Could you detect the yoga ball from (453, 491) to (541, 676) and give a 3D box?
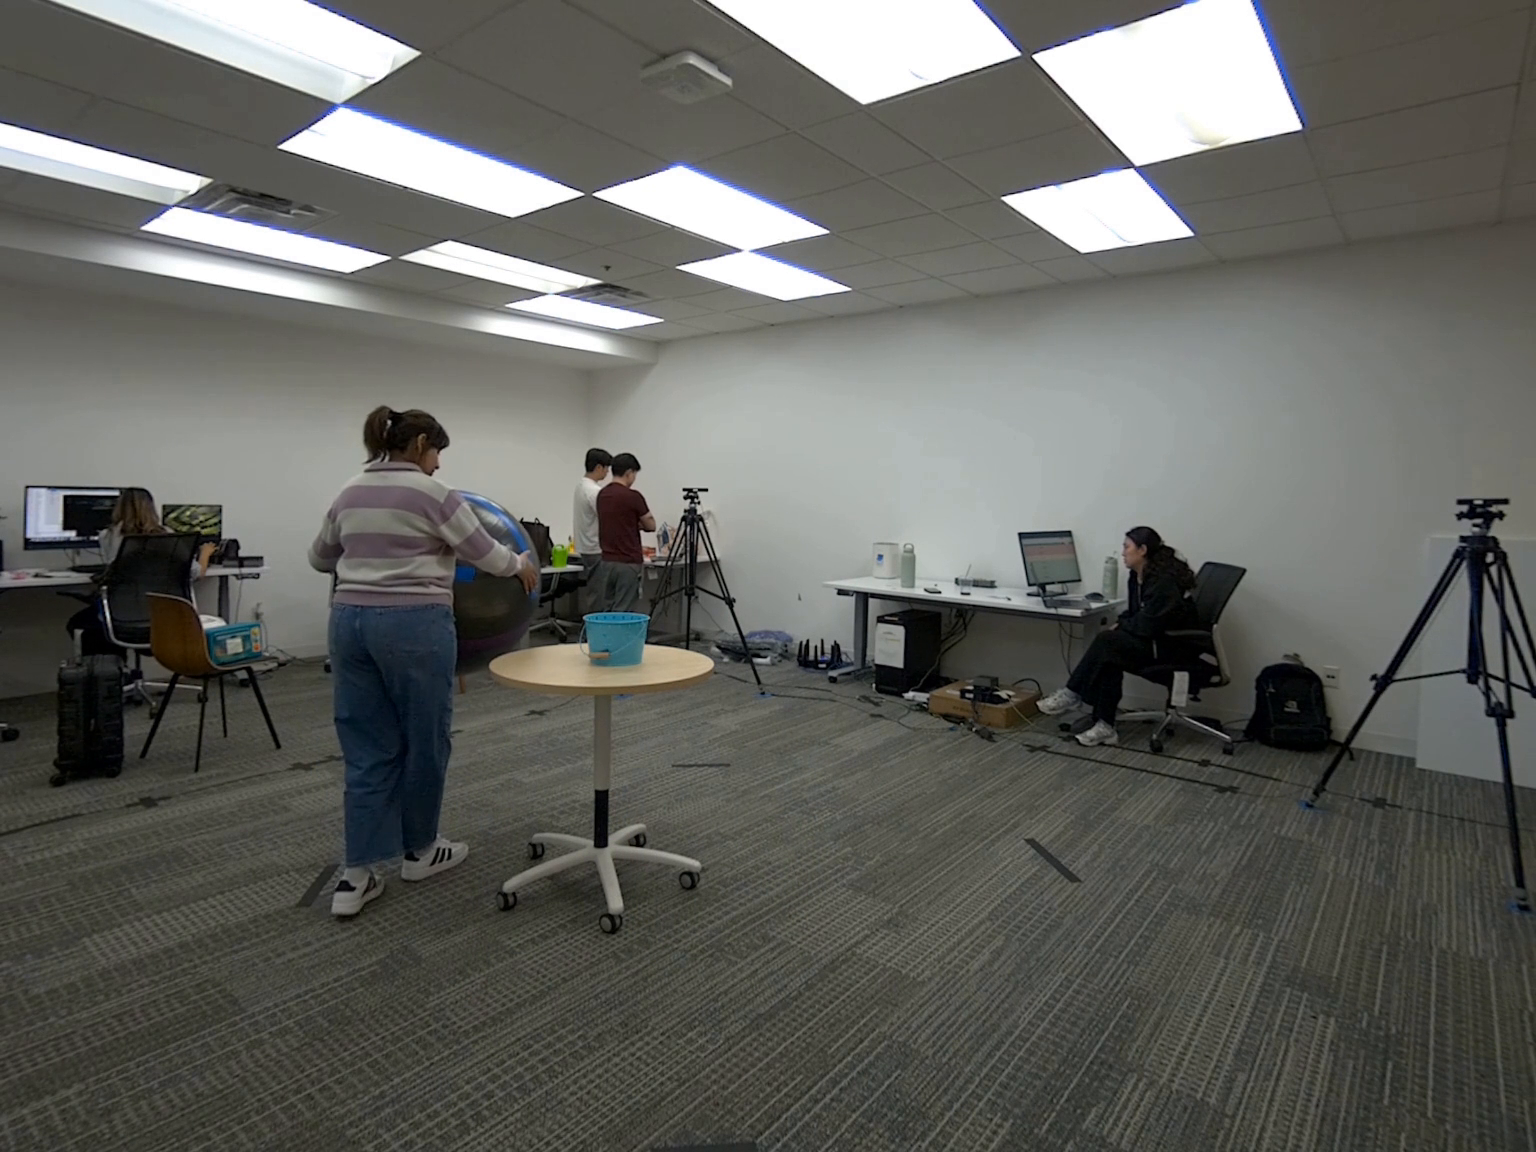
[{"bbox_3d":[-1.323,0.037,3.450,0.757,0.755,0.762,1,4,-2],"label":"yoga ball"}]
